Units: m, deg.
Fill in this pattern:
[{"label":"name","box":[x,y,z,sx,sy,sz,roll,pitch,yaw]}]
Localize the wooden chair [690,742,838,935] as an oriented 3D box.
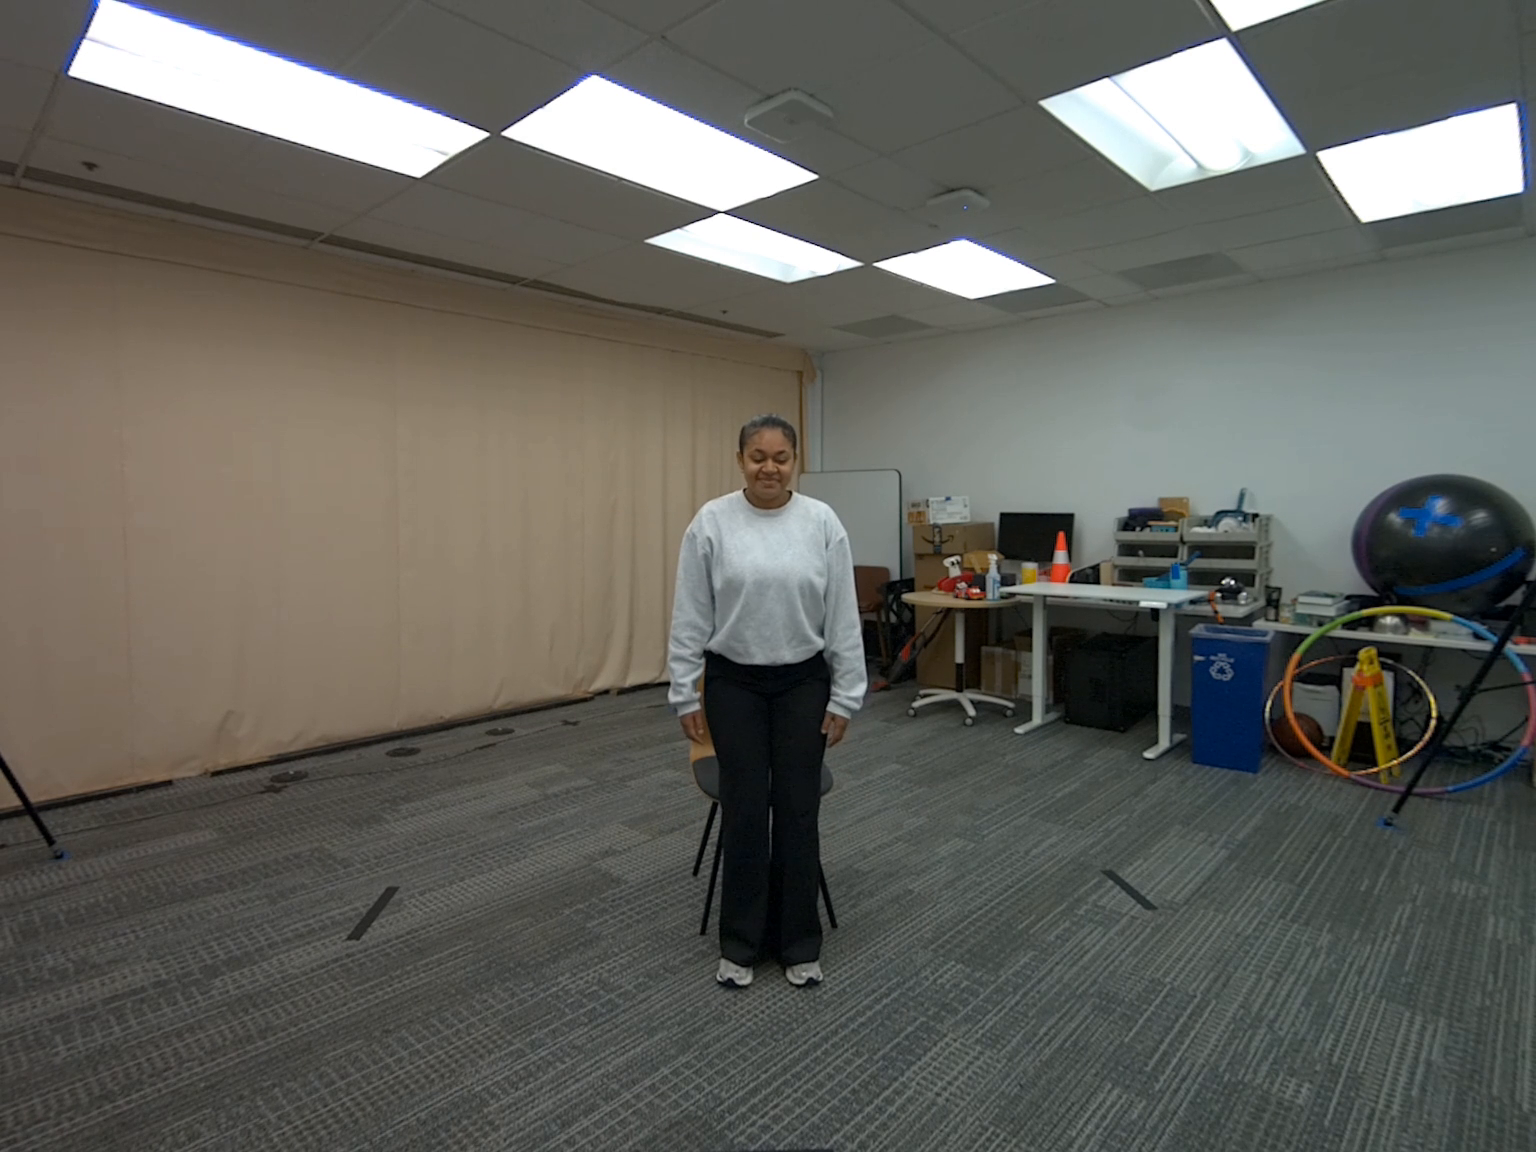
[{"label":"wooden chair","box":[-0.021,0.716,2.936,0.475,0.878,0.527,0,-1,-8]}]
